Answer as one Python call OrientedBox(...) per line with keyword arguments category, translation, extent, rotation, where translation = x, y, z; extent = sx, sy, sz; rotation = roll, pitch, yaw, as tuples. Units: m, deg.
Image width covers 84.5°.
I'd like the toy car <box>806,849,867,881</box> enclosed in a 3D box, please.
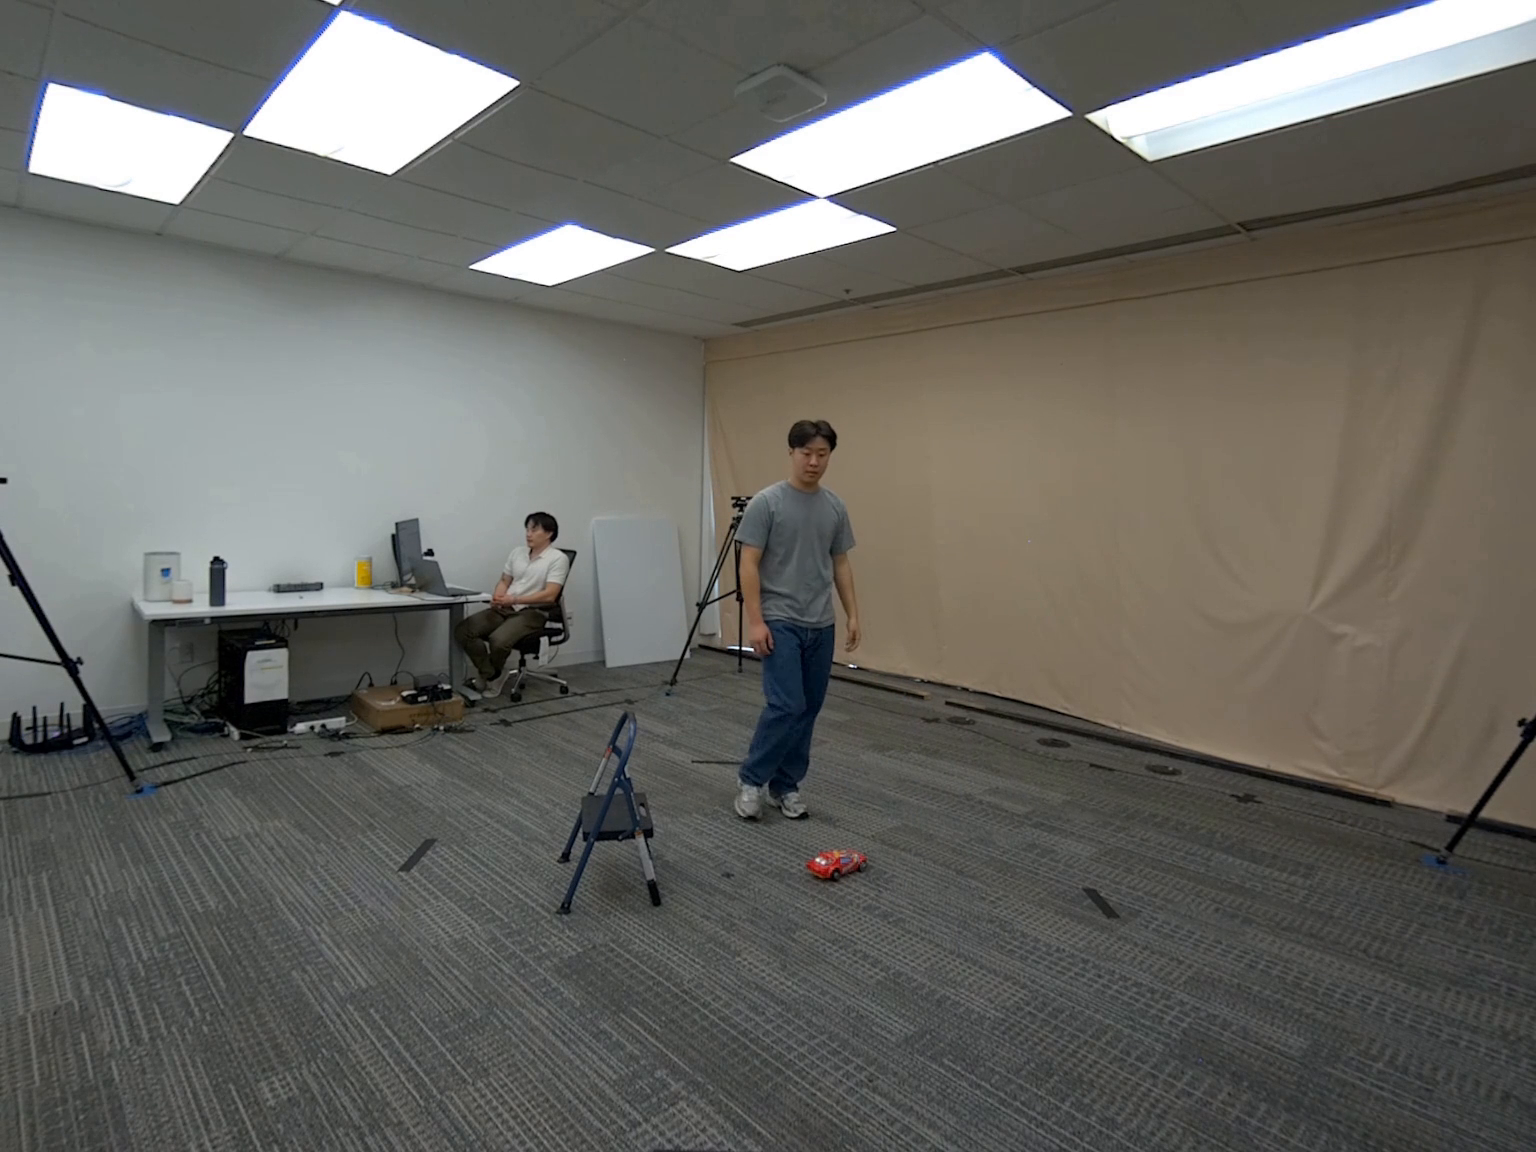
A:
OrientedBox(category="toy car", translation=(0.245, 1.083, 3.143), extent=(0.248, 0.083, 0.133), rotation=(10, -2, -38))
